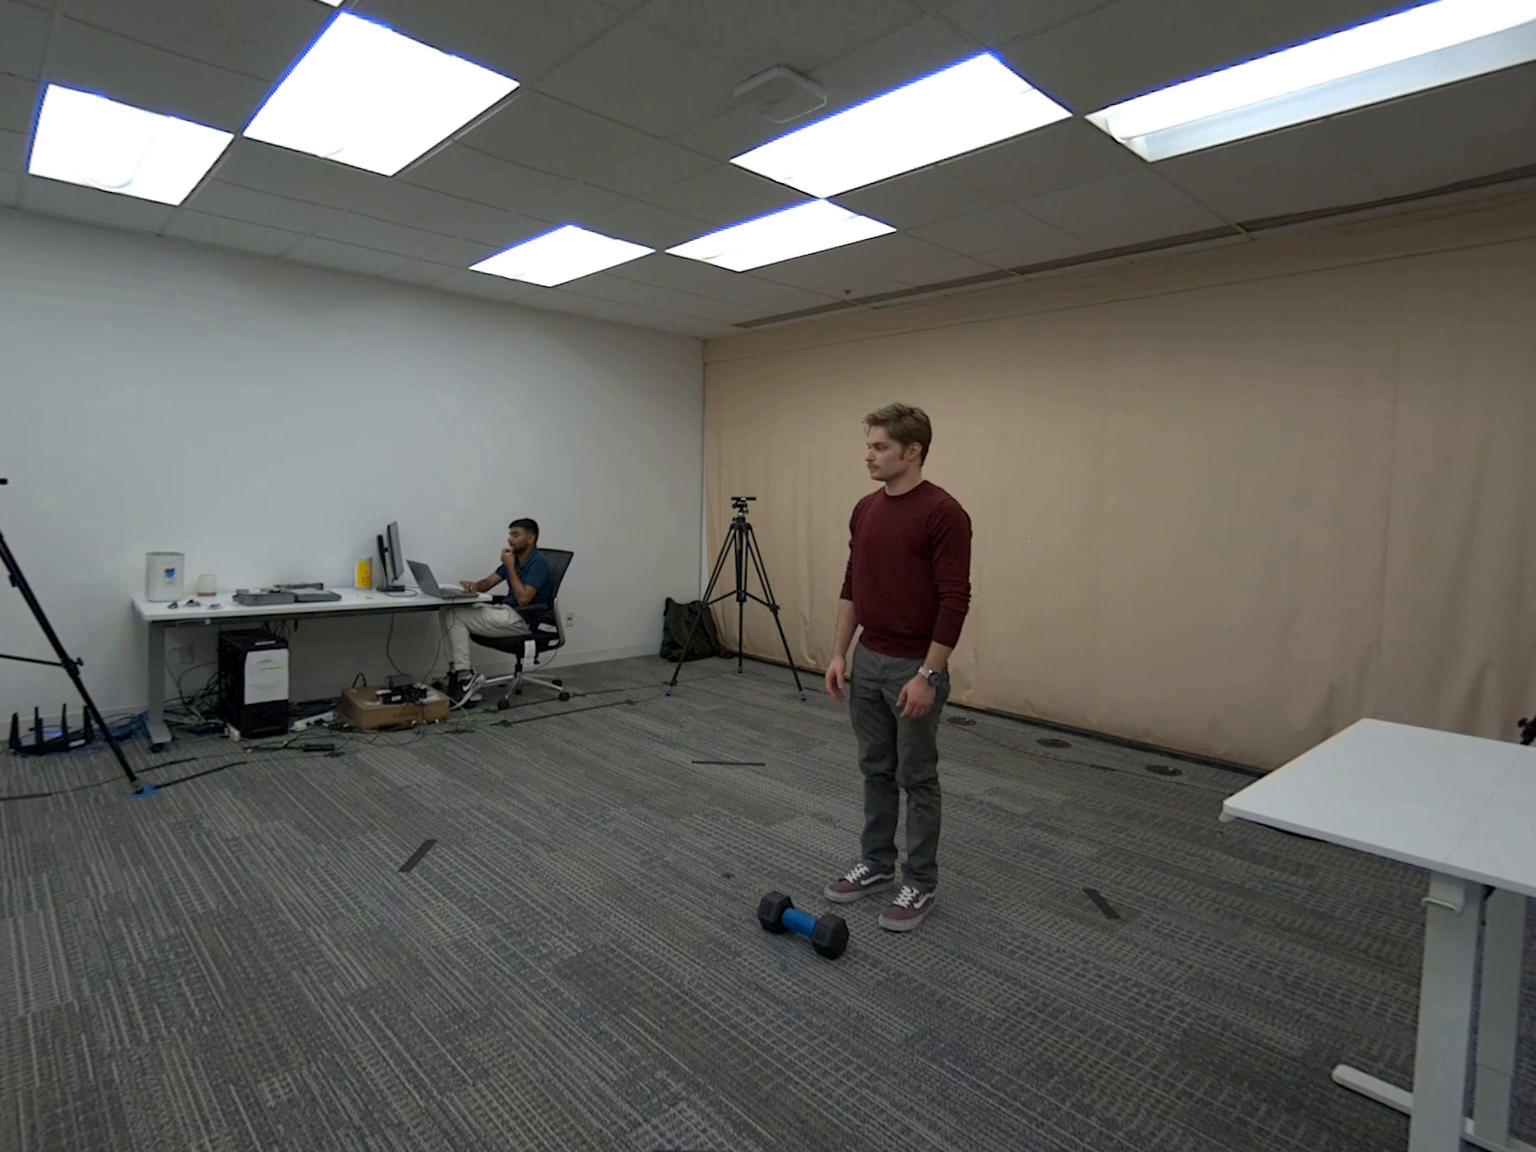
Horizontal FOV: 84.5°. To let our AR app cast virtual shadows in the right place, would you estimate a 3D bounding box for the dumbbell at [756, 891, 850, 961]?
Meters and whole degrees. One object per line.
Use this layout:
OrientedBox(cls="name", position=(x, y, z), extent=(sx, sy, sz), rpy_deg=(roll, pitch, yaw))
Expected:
OrientedBox(cls="dumbbell", position=(0.103, 1.099, 2.656), extent=(0.301, 0.124, 0.105), rpy_deg=(6, -23, 40))
